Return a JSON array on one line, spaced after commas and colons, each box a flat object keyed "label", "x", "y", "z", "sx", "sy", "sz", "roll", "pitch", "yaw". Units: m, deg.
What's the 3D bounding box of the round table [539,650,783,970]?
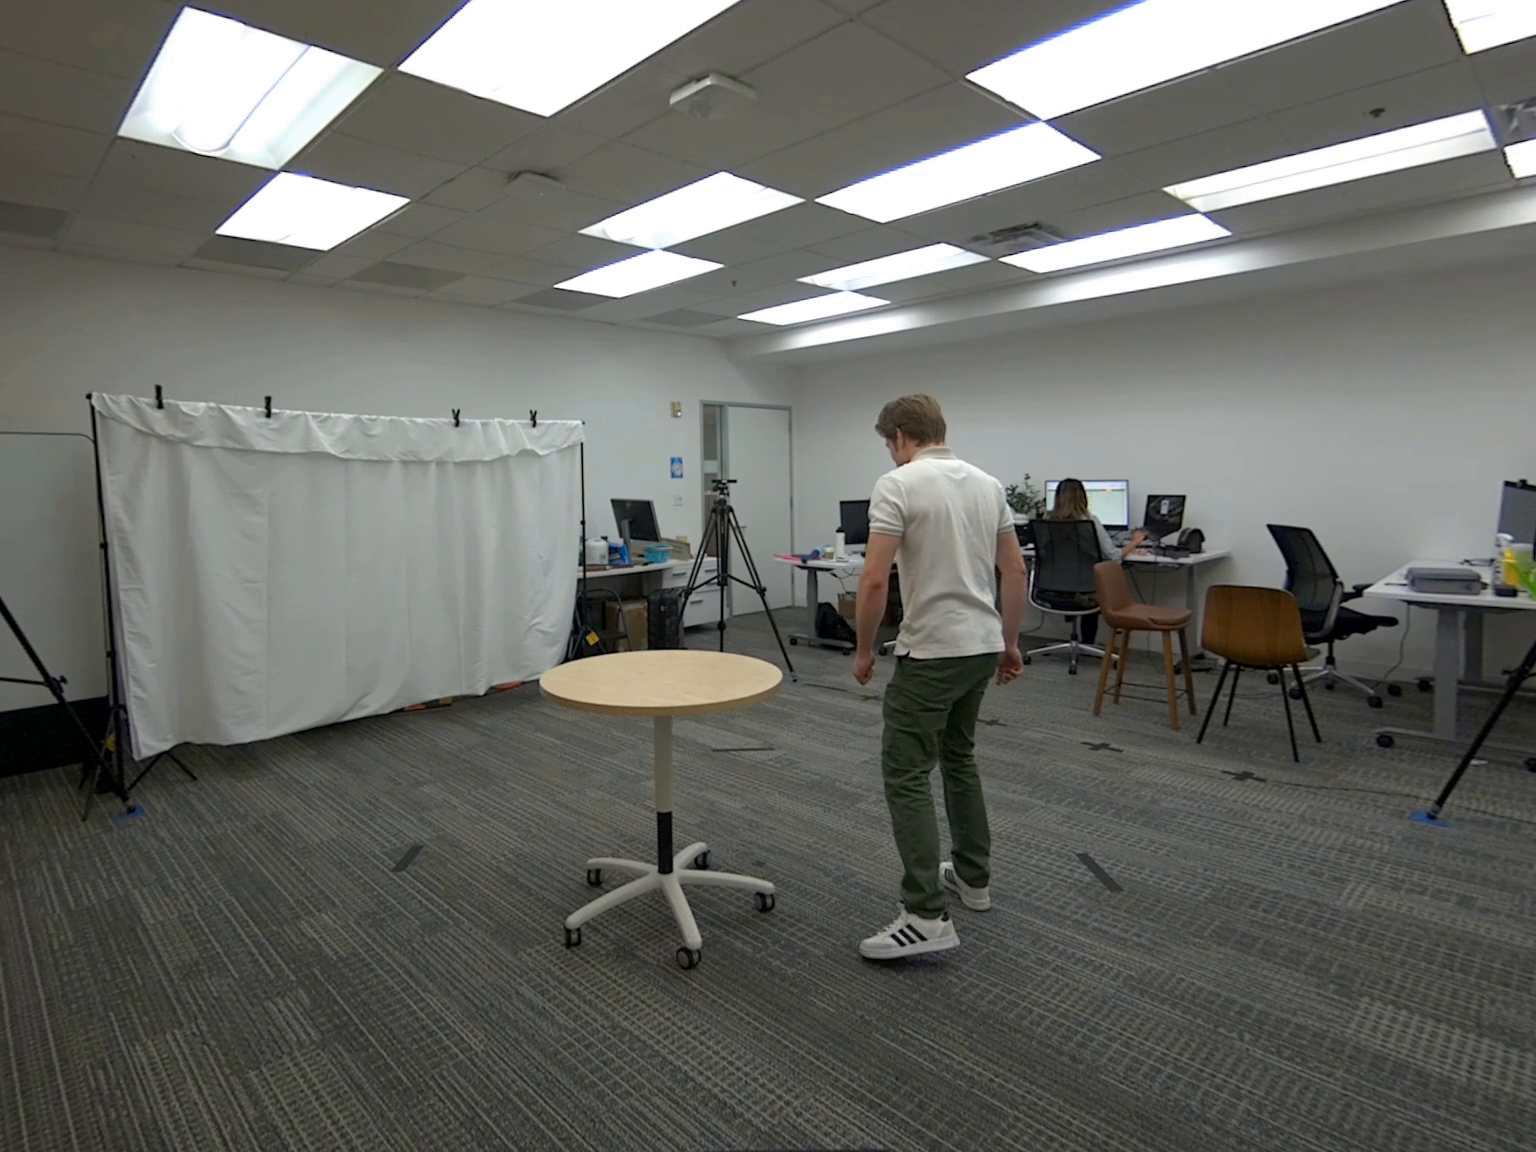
[{"label": "round table", "x": -0.331, "y": 0.704, "z": 2.749, "sx": 0.763, "sy": 0.791, "sz": 0.768, "roll": 0, "pitch": 5, "yaw": -2}]
